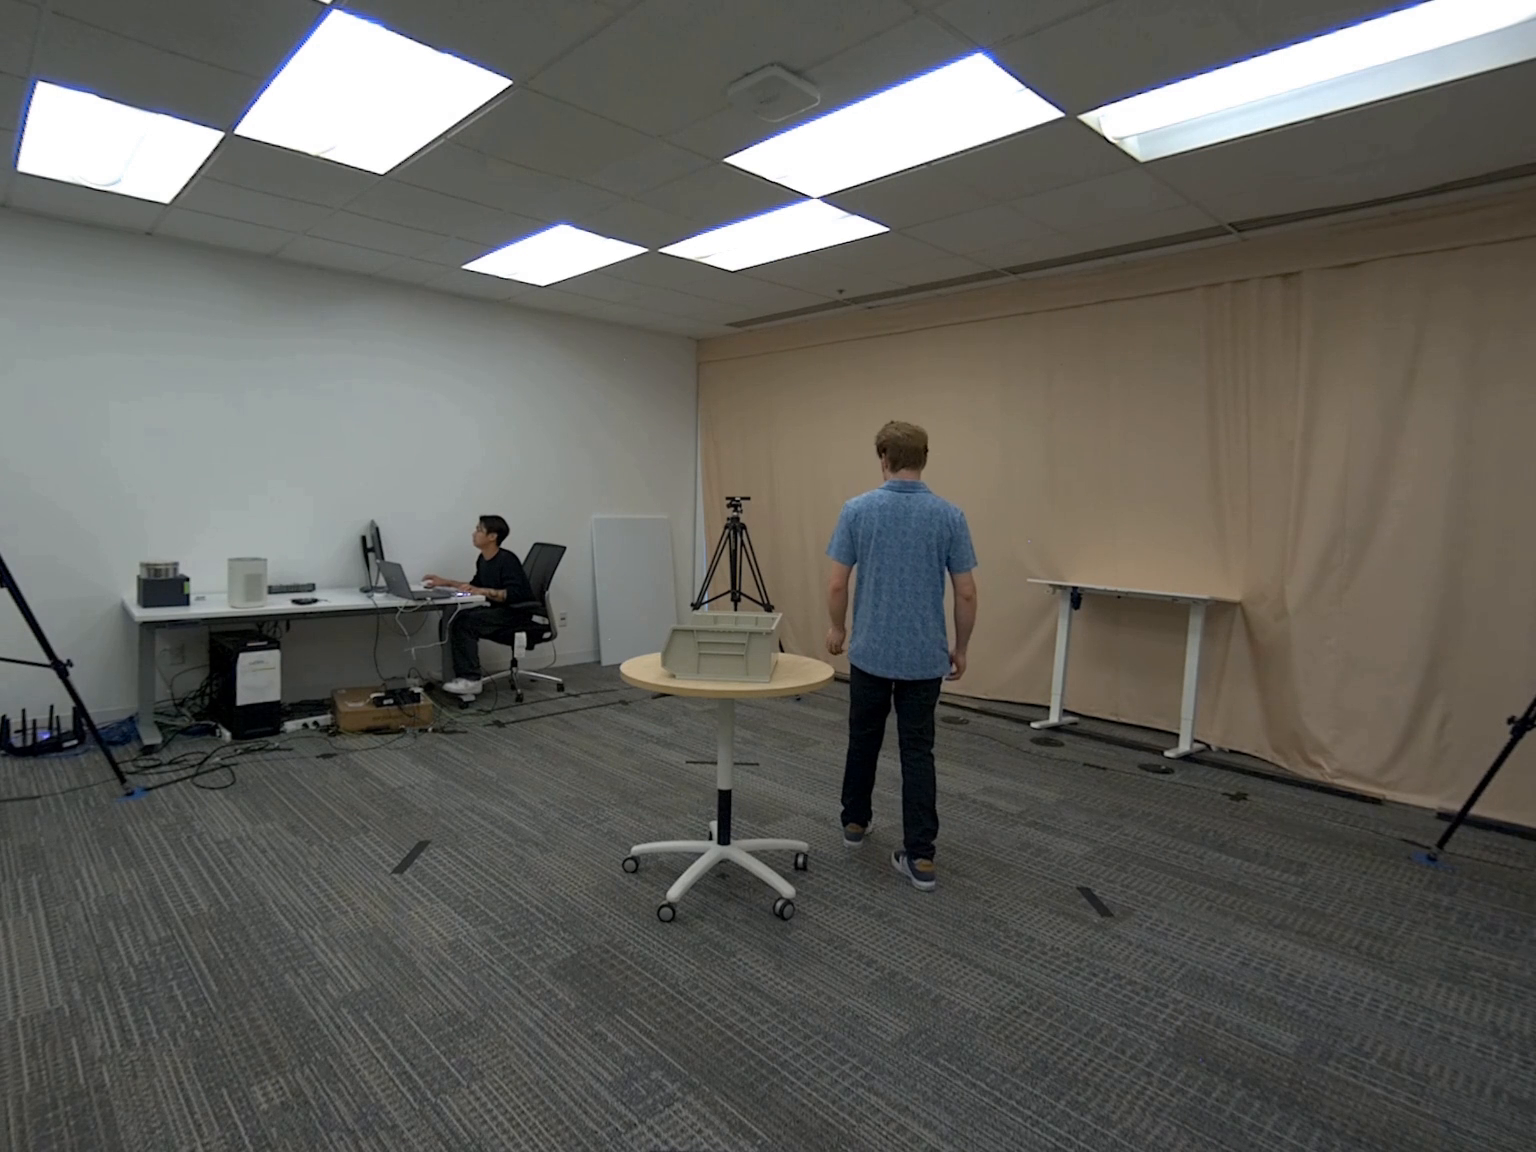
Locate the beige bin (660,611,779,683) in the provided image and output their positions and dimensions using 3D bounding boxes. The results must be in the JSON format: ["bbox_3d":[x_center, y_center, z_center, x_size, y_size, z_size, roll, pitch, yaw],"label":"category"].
[{"bbox_3d":[-0.157,0.238,2.983,0.381,0.188,0.420,3,5,10],"label":"beige bin"}]
